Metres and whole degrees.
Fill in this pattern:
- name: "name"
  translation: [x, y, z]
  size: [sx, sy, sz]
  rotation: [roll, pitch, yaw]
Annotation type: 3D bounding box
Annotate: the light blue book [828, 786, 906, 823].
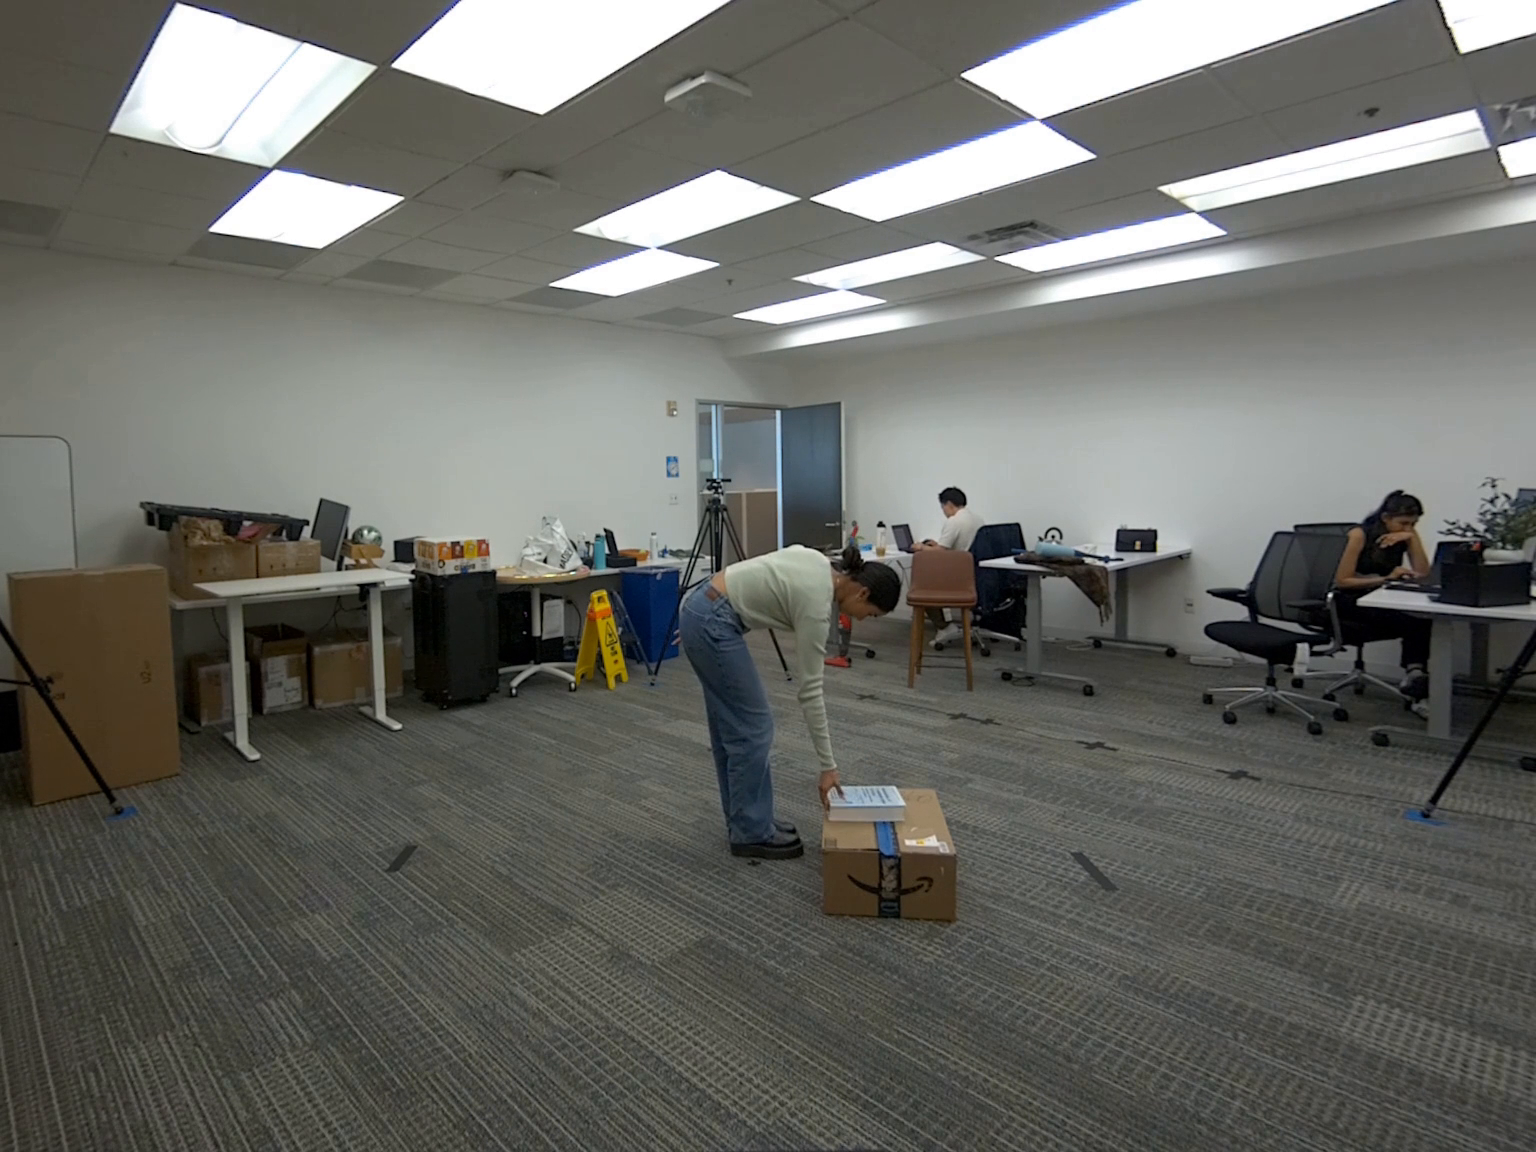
- name: "light blue book"
  translation: [0.338, 0.795, 3.026]
  size: [0.261, 0.059, 0.192]
  rotation: [1, 6, 0]
